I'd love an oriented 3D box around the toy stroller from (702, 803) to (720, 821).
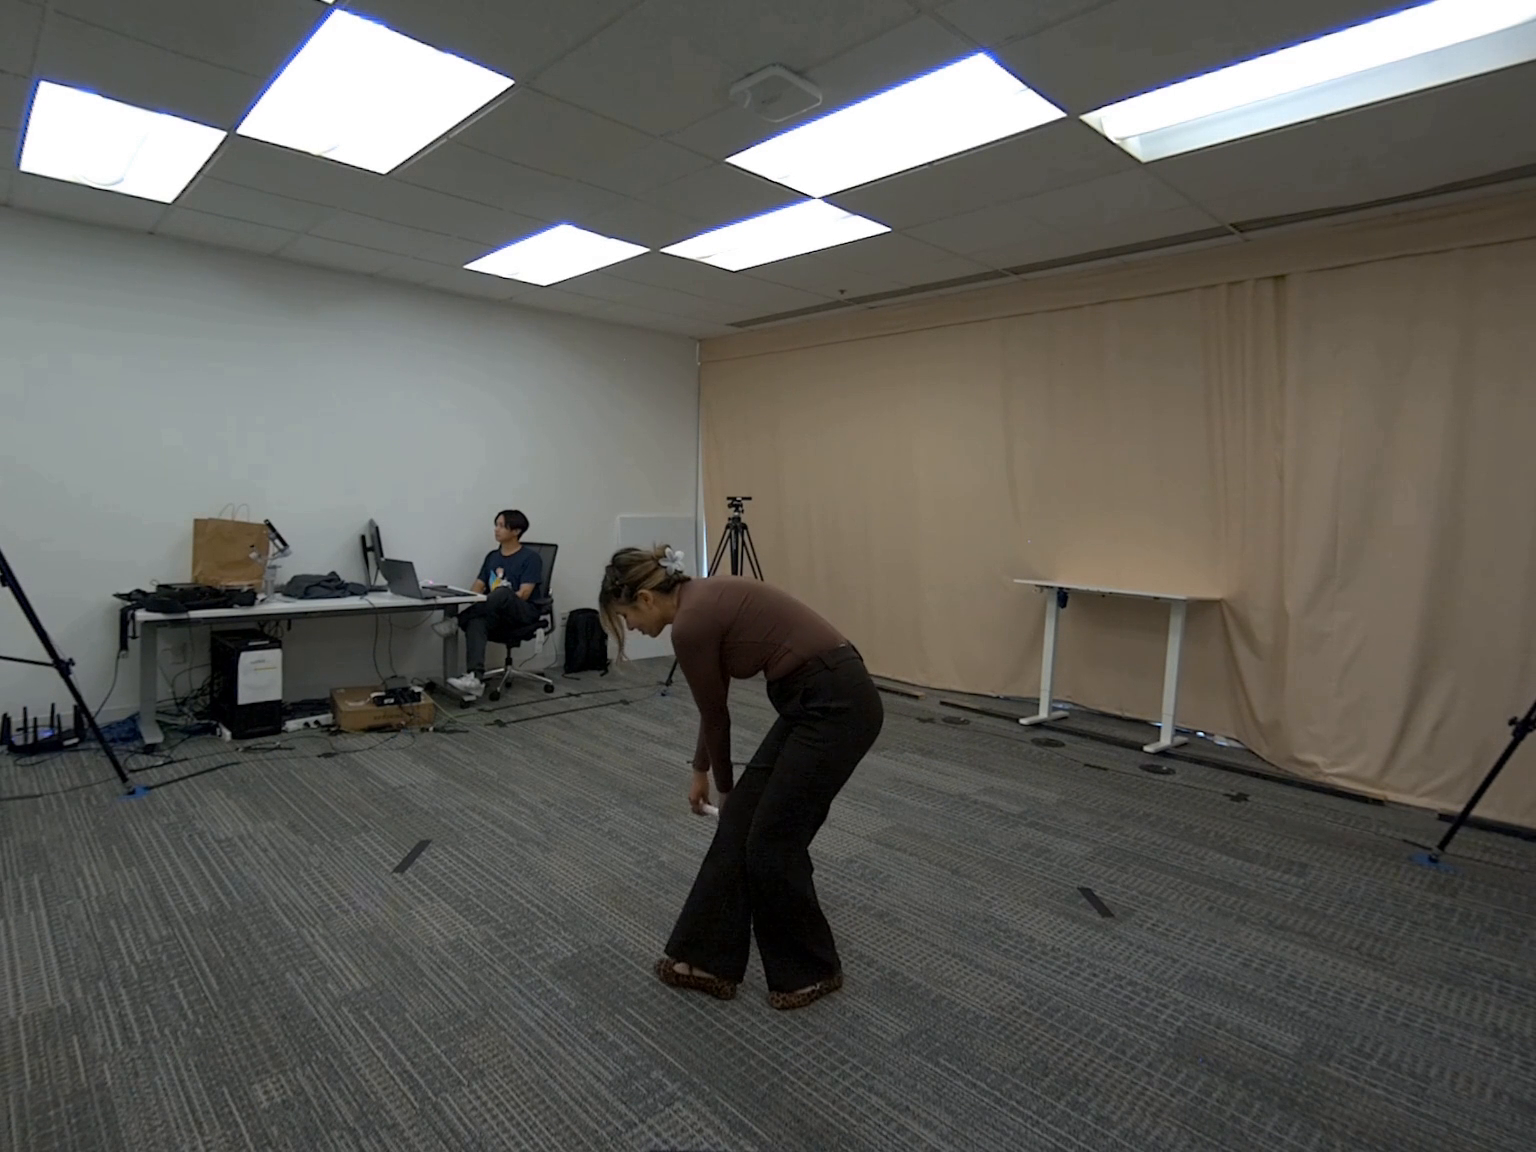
[{"bbox_3d":[-0.015,0.920,2.758,0.337,0.528,0.289,-23,20,-40],"label":"toy stroller"}]
